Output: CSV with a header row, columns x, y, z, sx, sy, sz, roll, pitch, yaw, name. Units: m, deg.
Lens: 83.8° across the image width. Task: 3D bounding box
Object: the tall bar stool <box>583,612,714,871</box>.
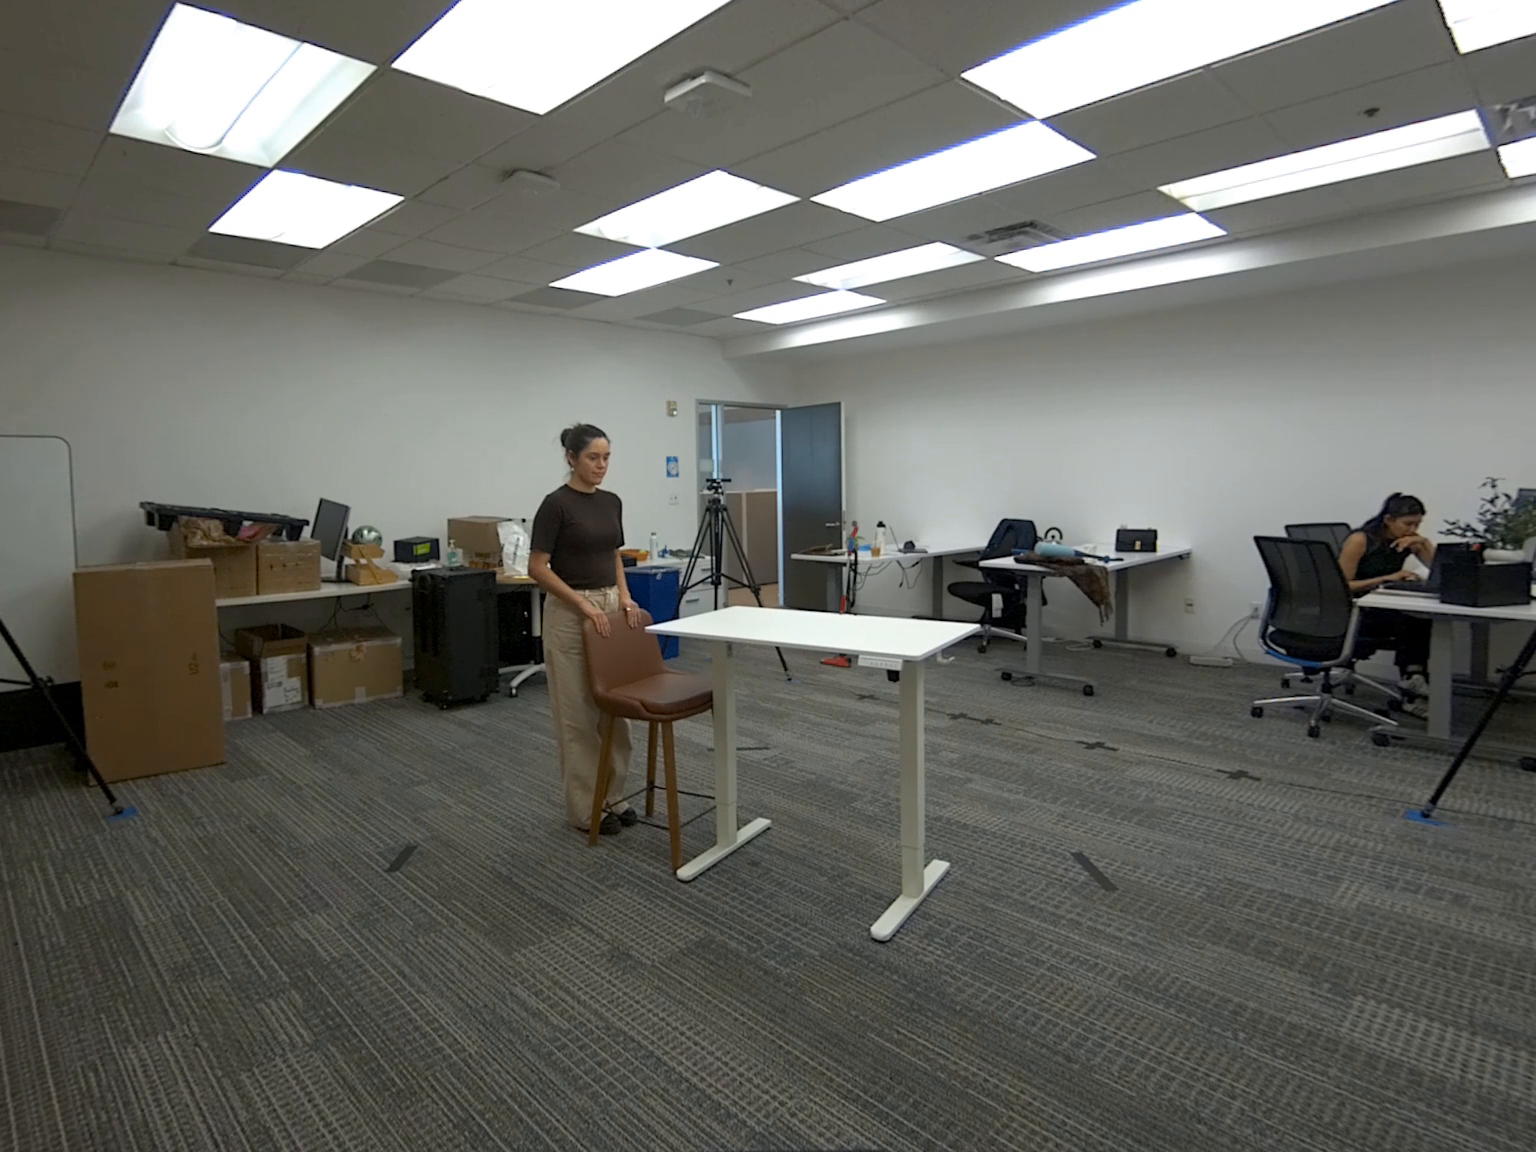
x,y,z,sx,sy,sz,roll,pitch,yaw,name
-0.424,0.587,3.287,0.480,0.888,0.445,-2,2,34,tall bar stool
